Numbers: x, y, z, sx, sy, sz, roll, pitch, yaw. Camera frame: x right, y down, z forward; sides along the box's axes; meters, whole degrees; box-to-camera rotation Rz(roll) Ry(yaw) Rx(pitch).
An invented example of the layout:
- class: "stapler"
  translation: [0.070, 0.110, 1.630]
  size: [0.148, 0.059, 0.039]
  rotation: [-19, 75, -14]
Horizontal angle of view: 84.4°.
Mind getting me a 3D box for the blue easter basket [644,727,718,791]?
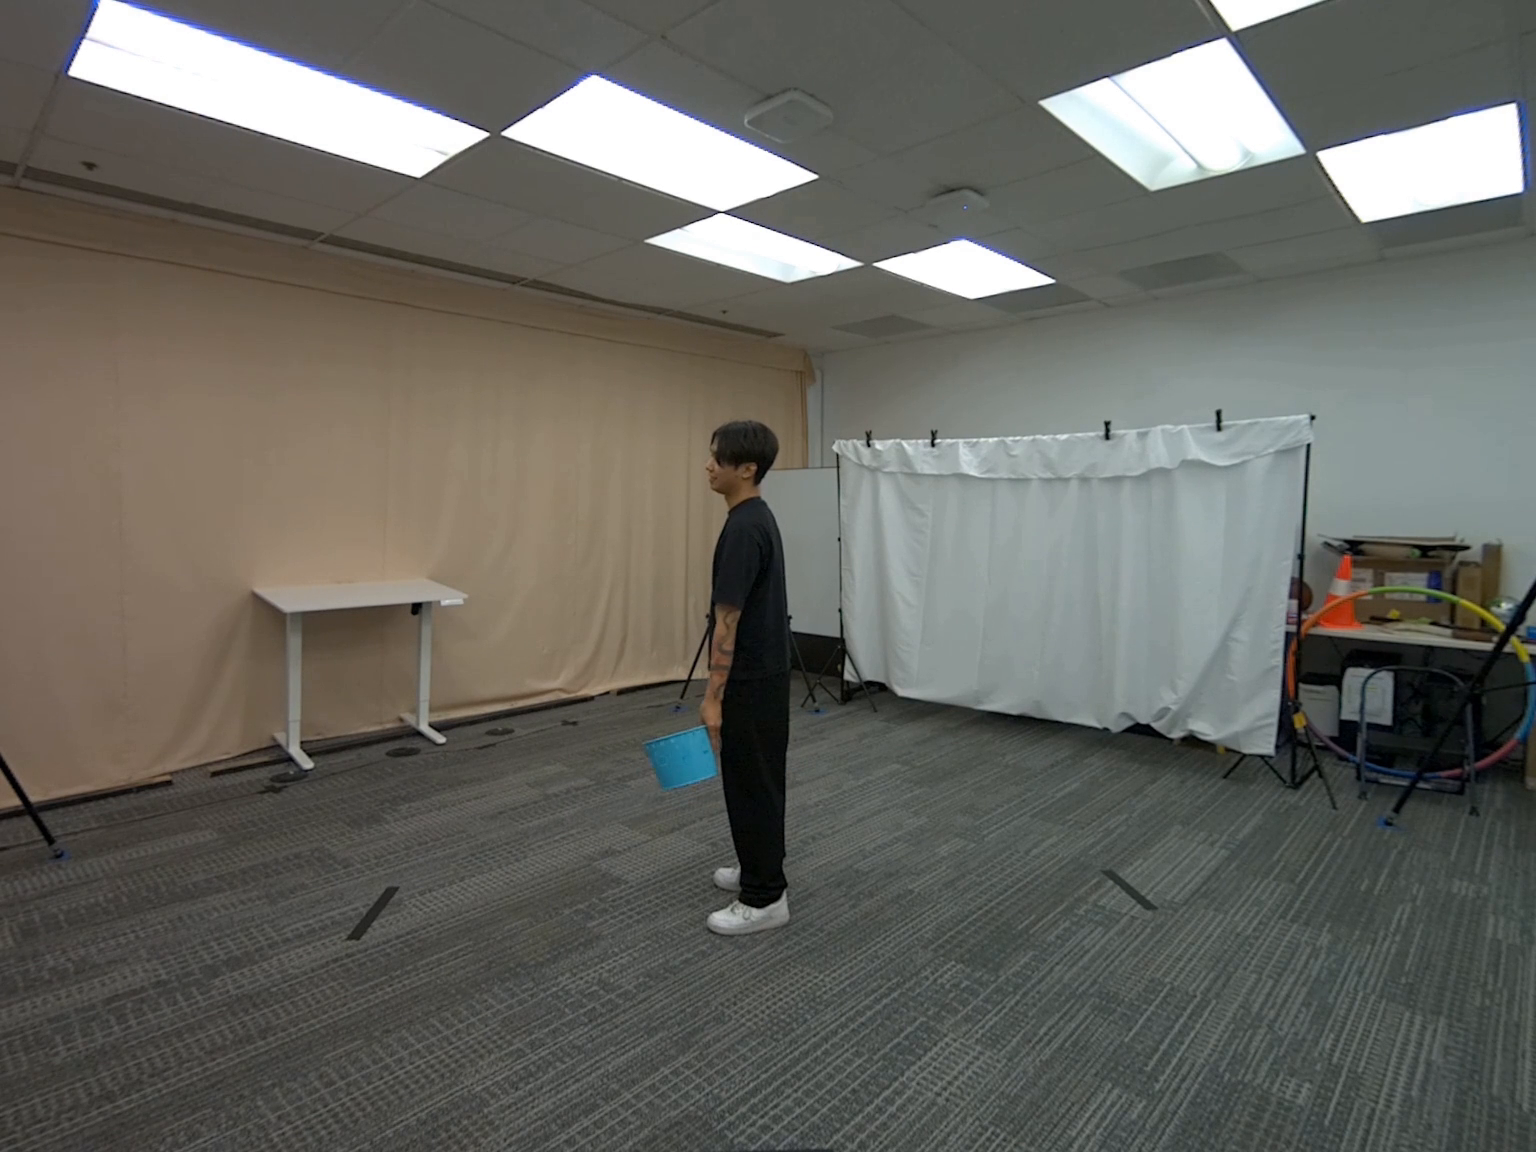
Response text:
- class: "blue easter basket"
  translation: [-0.260, 0.554, 2.632]
  size: [0.243, 0.157, 0.242]
  rotation: [-15, -9, -4]
